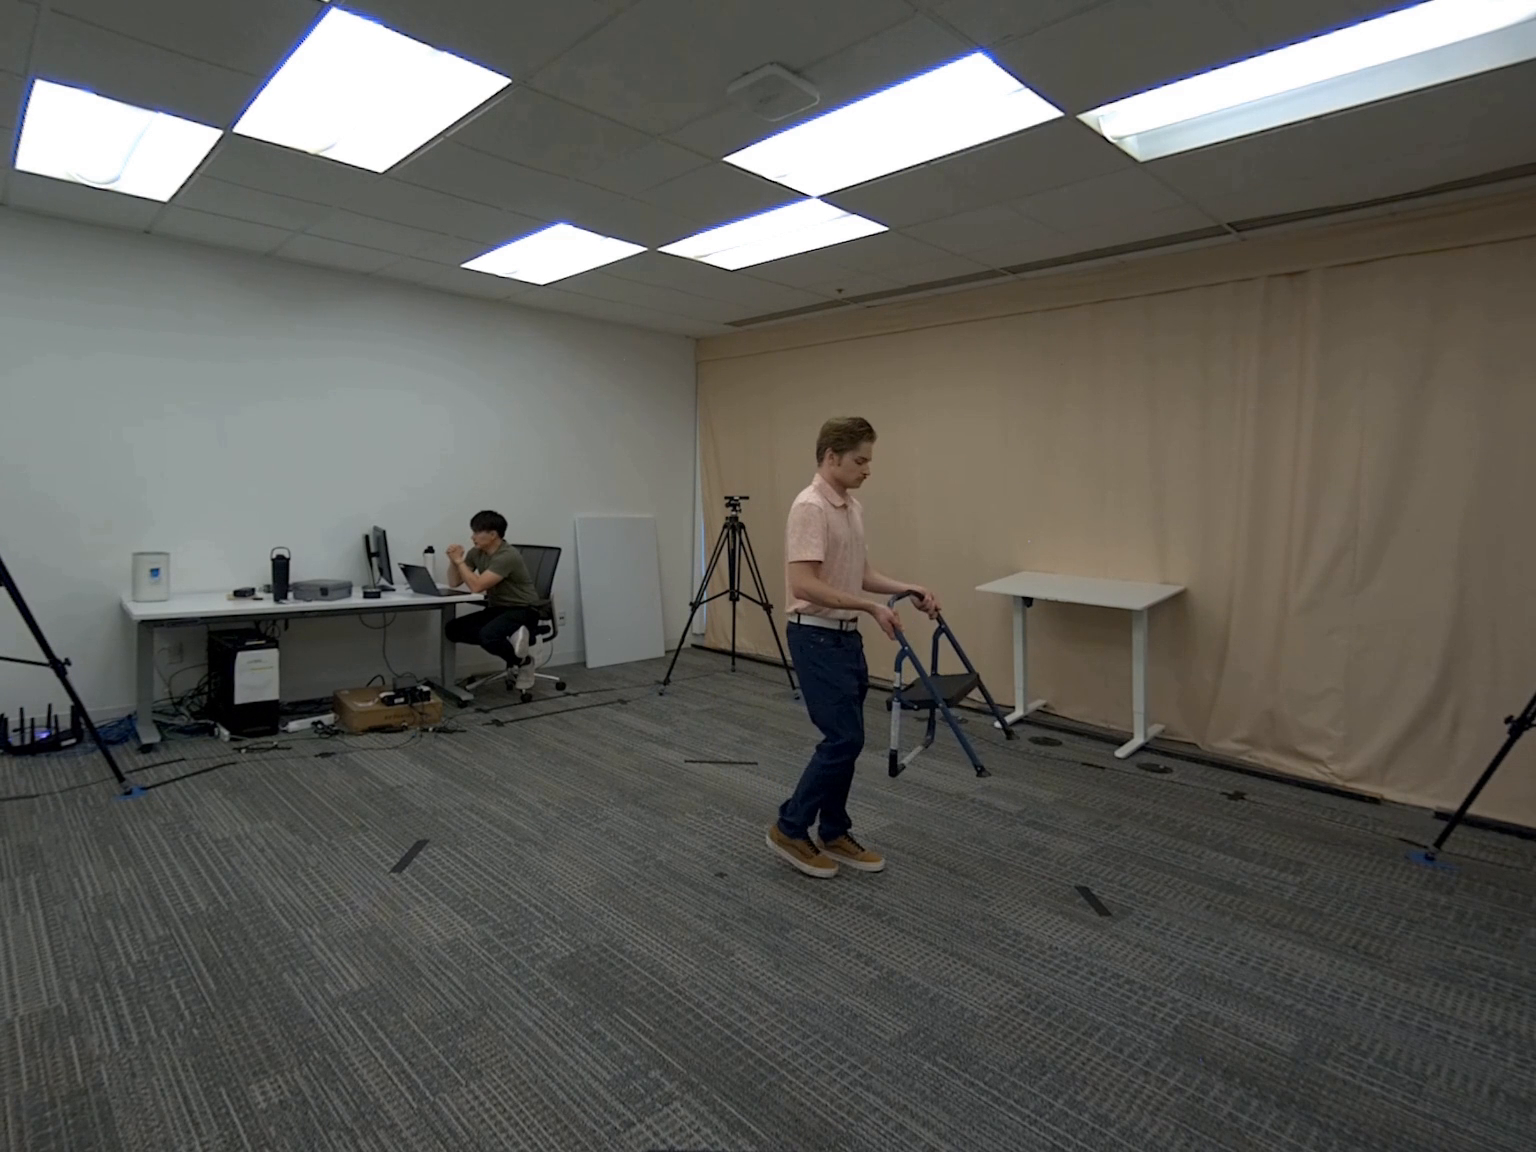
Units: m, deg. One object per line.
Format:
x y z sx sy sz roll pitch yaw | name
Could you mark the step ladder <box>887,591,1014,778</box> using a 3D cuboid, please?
0.593 0.353 2.971 0.355 0.606 0.423 -10 1 31 | step ladder
